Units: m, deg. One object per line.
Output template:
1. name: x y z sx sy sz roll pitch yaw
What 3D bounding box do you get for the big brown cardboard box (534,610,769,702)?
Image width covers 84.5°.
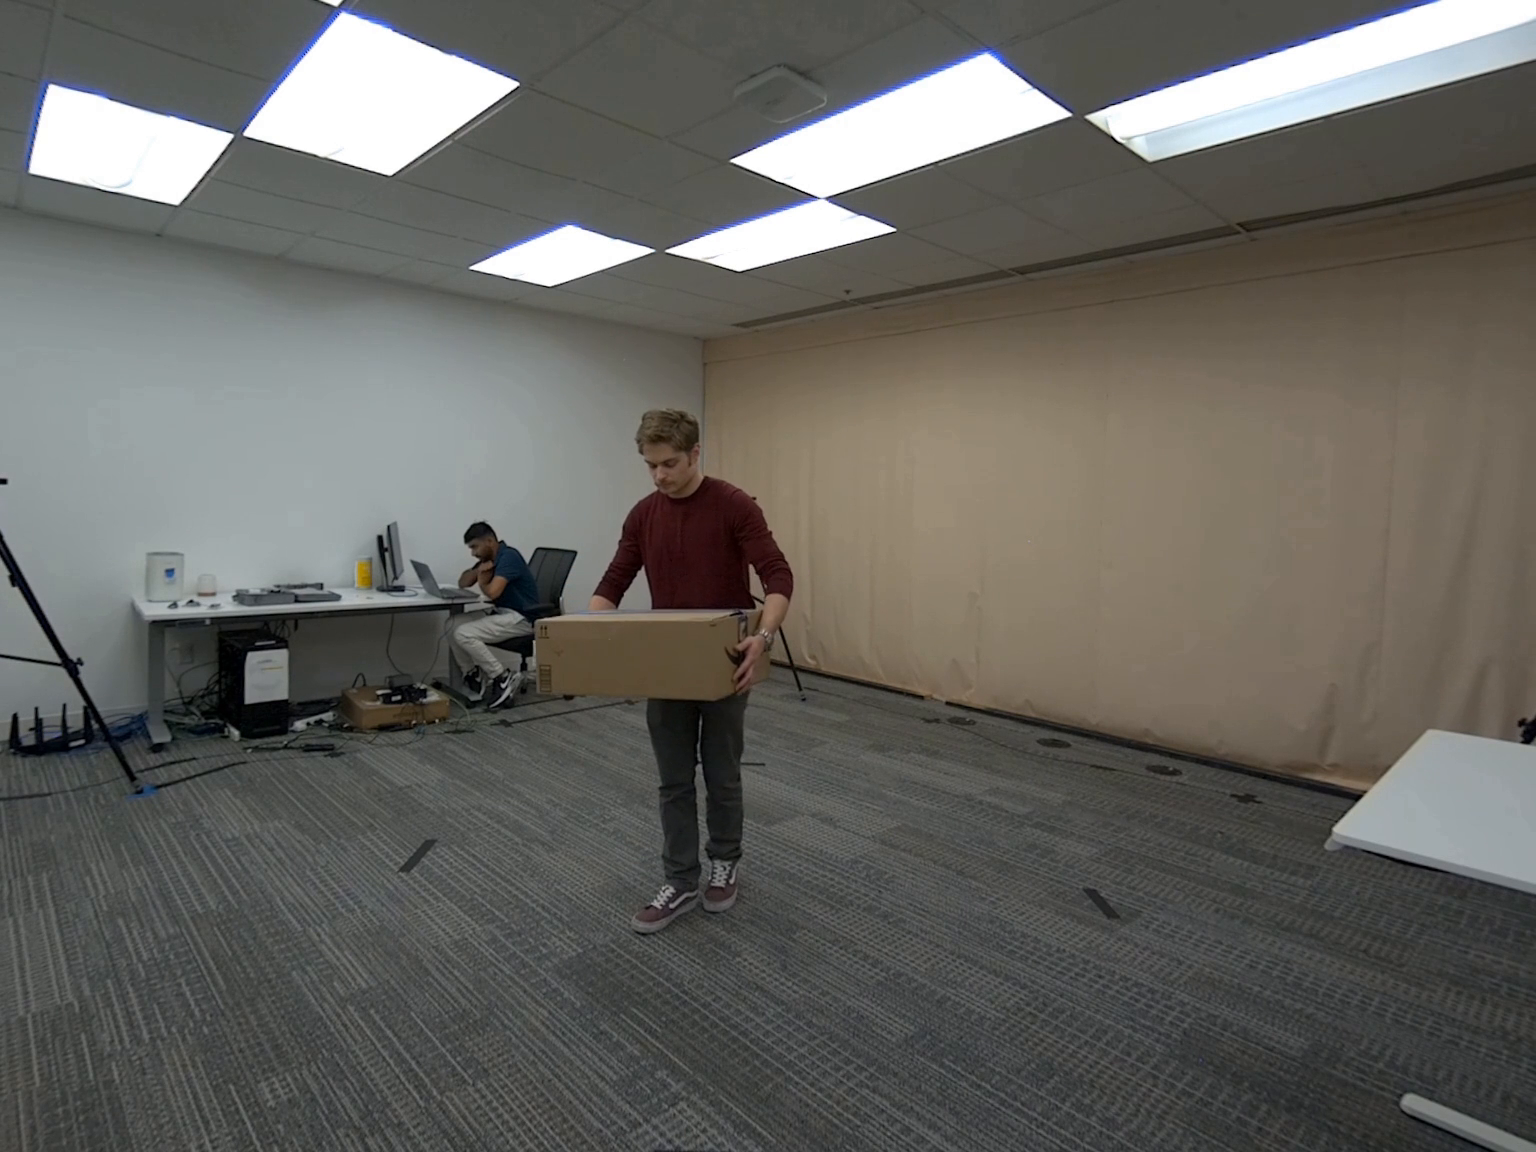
1. big brown cardboard box: -0.339 0.222 2.504 0.598 0.233 0.410 -3 0 22
